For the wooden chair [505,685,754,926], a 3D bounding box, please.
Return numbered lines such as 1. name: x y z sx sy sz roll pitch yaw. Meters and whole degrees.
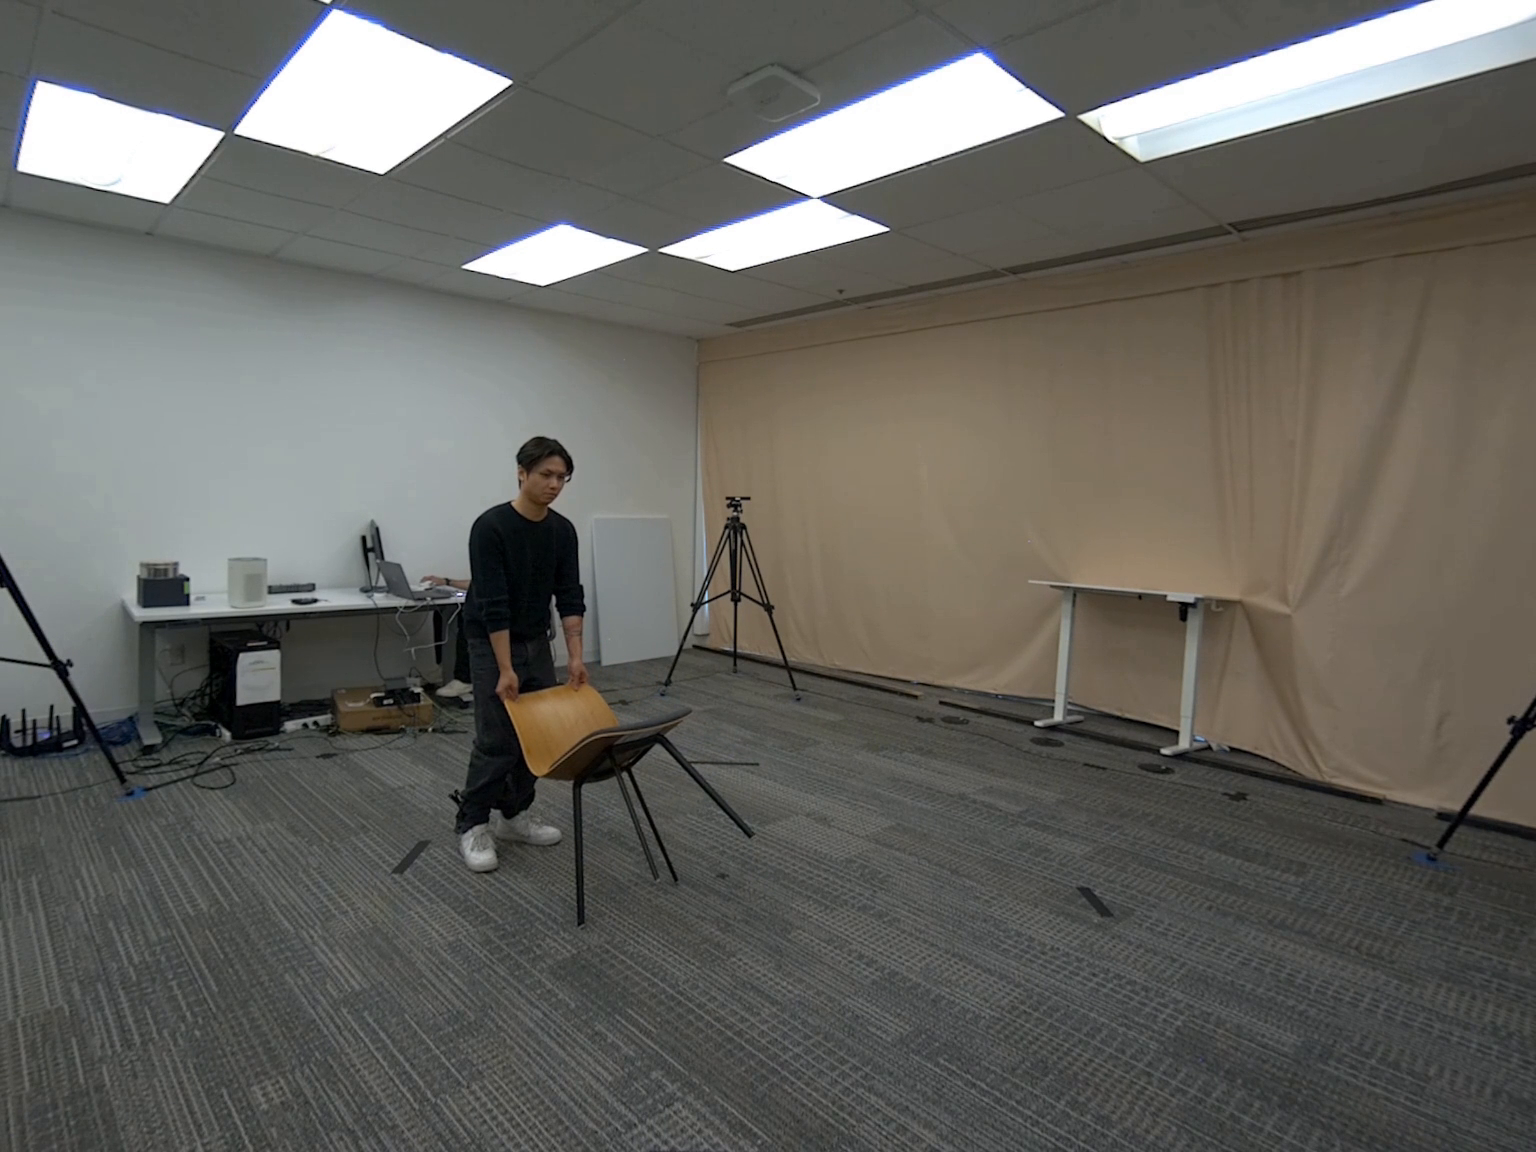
1. wooden chair: -0.509 0.638 2.886 0.467 0.897 0.523 -3 -36 -49
